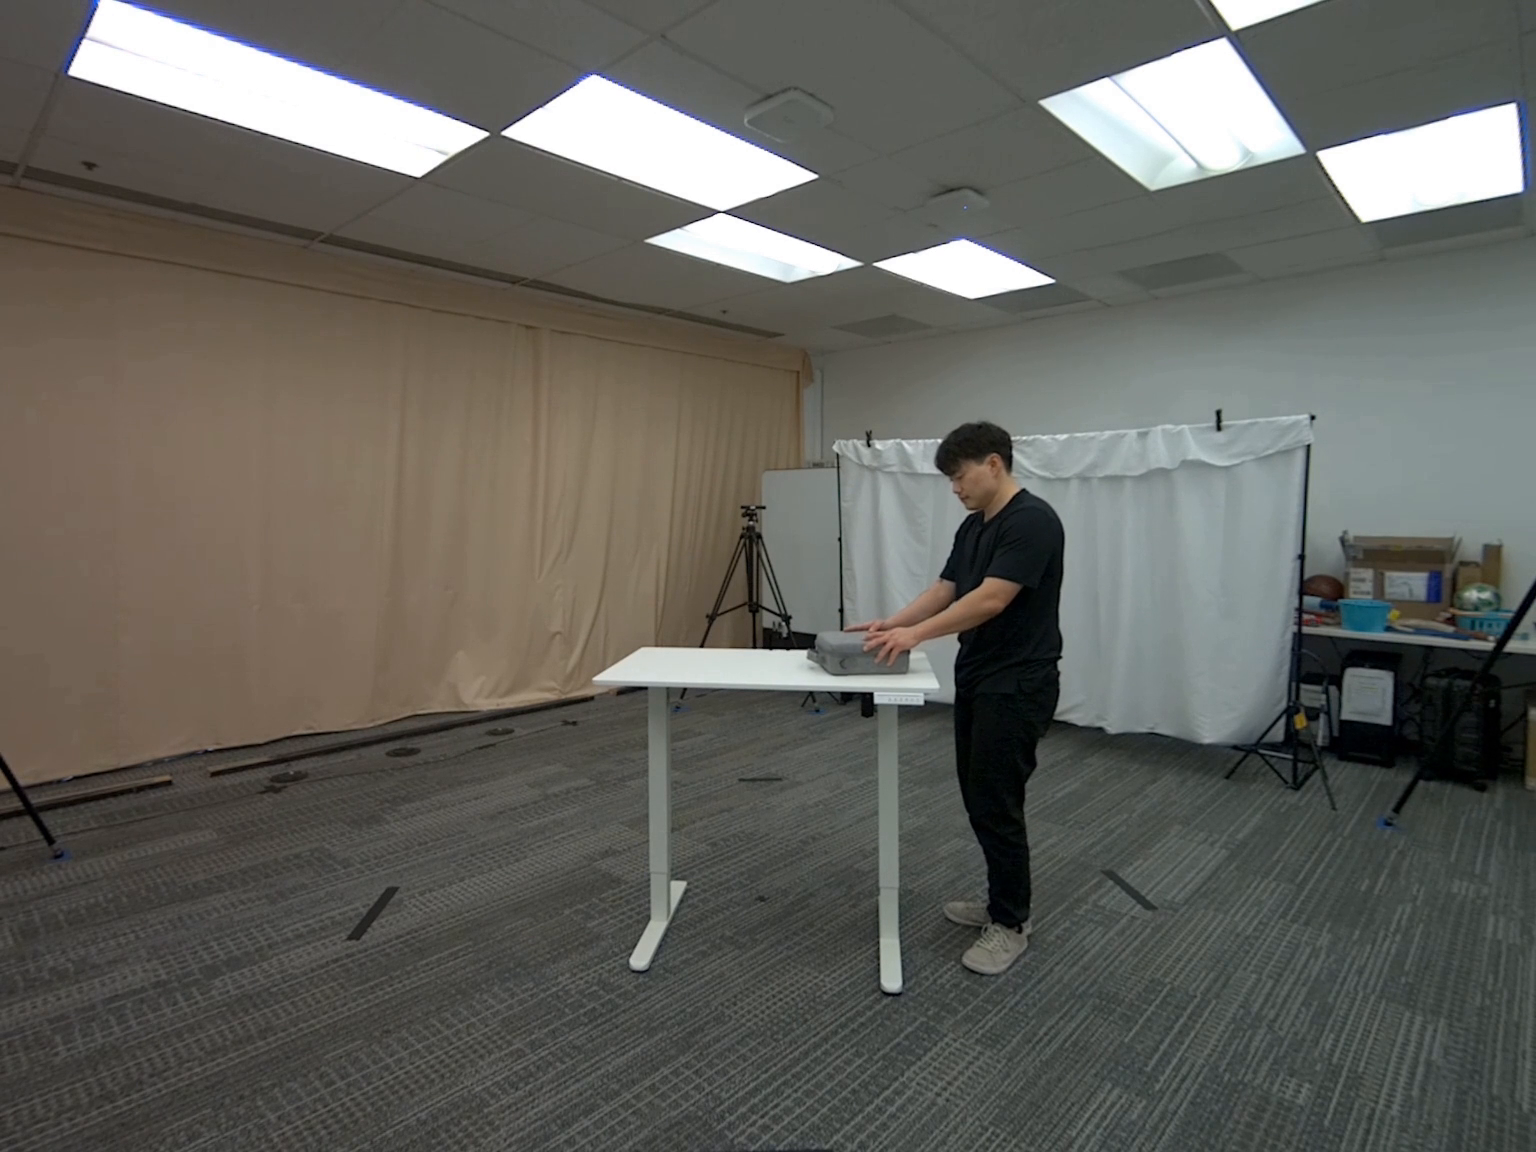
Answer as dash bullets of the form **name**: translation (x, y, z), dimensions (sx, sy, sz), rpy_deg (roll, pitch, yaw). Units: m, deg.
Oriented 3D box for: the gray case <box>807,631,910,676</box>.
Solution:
- **gray case**: translation (0.290, 0.241, 2.622), dimensions (0.260, 0.104, 0.258), rpy_deg (0, 5, -4)
